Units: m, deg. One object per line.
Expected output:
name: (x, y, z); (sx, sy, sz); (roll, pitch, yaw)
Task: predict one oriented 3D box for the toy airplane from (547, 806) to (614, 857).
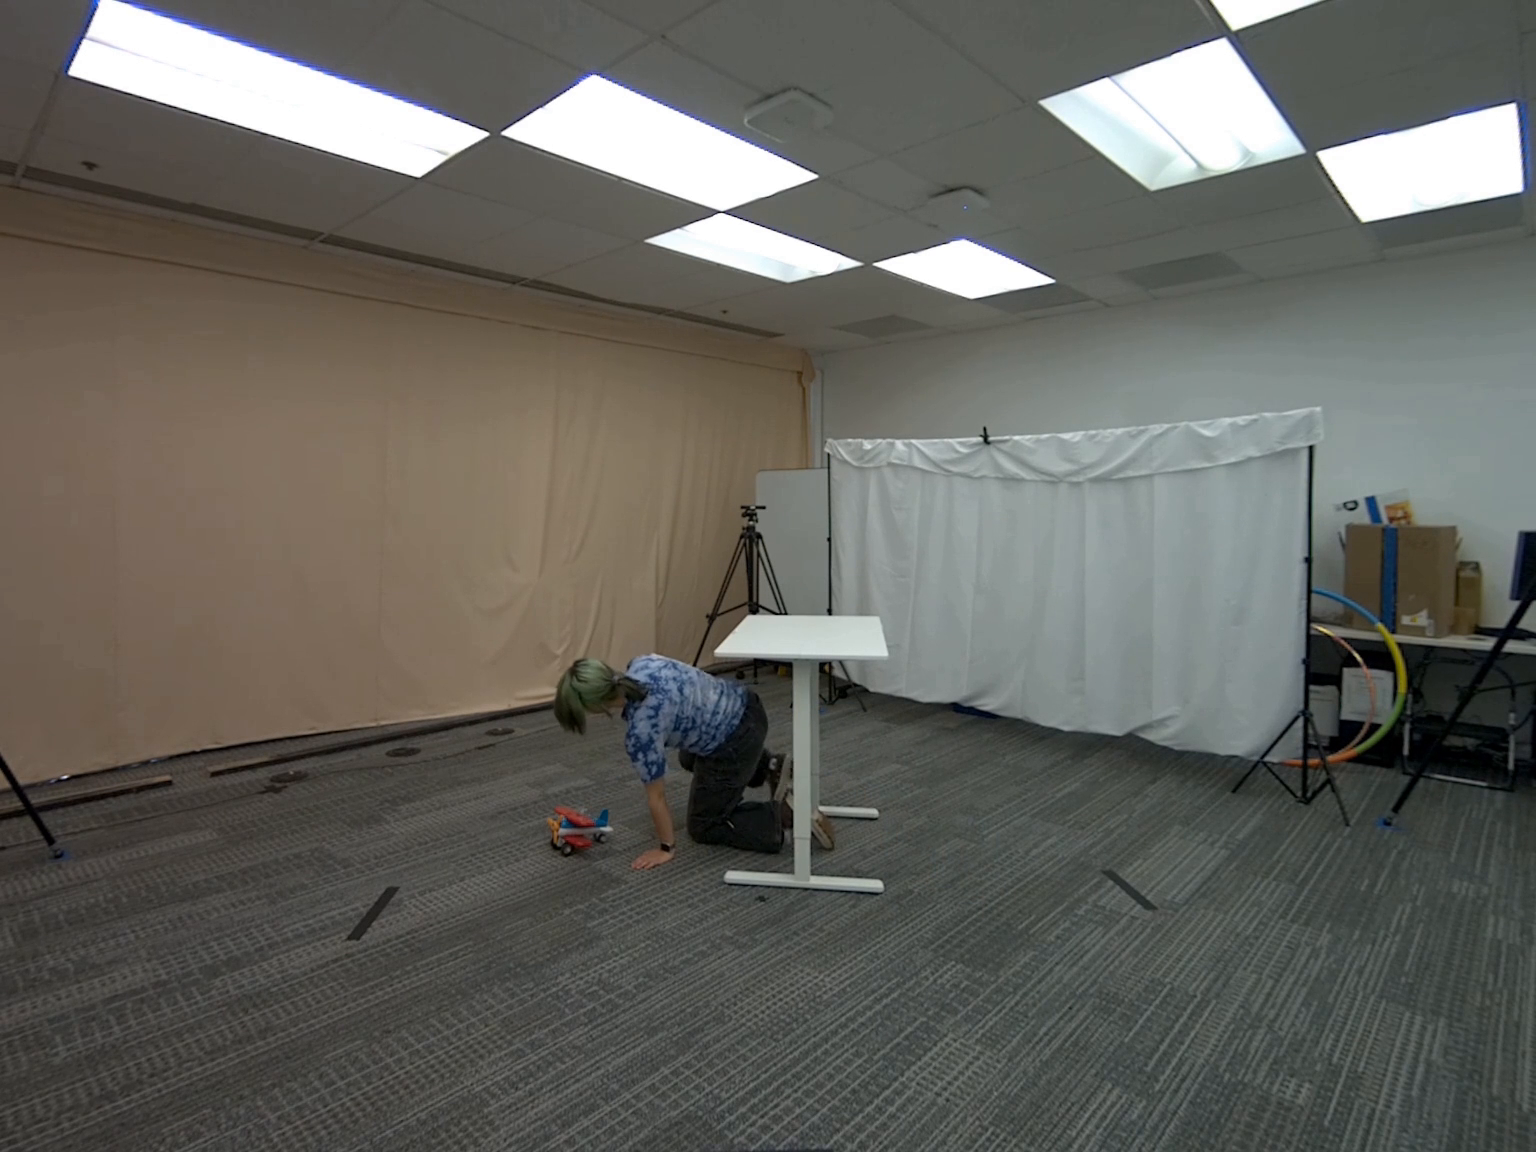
toy airplane: (-0.784, 1.040, 3.473); (0.257, 0.156, 0.254); (1, 5, 22)
